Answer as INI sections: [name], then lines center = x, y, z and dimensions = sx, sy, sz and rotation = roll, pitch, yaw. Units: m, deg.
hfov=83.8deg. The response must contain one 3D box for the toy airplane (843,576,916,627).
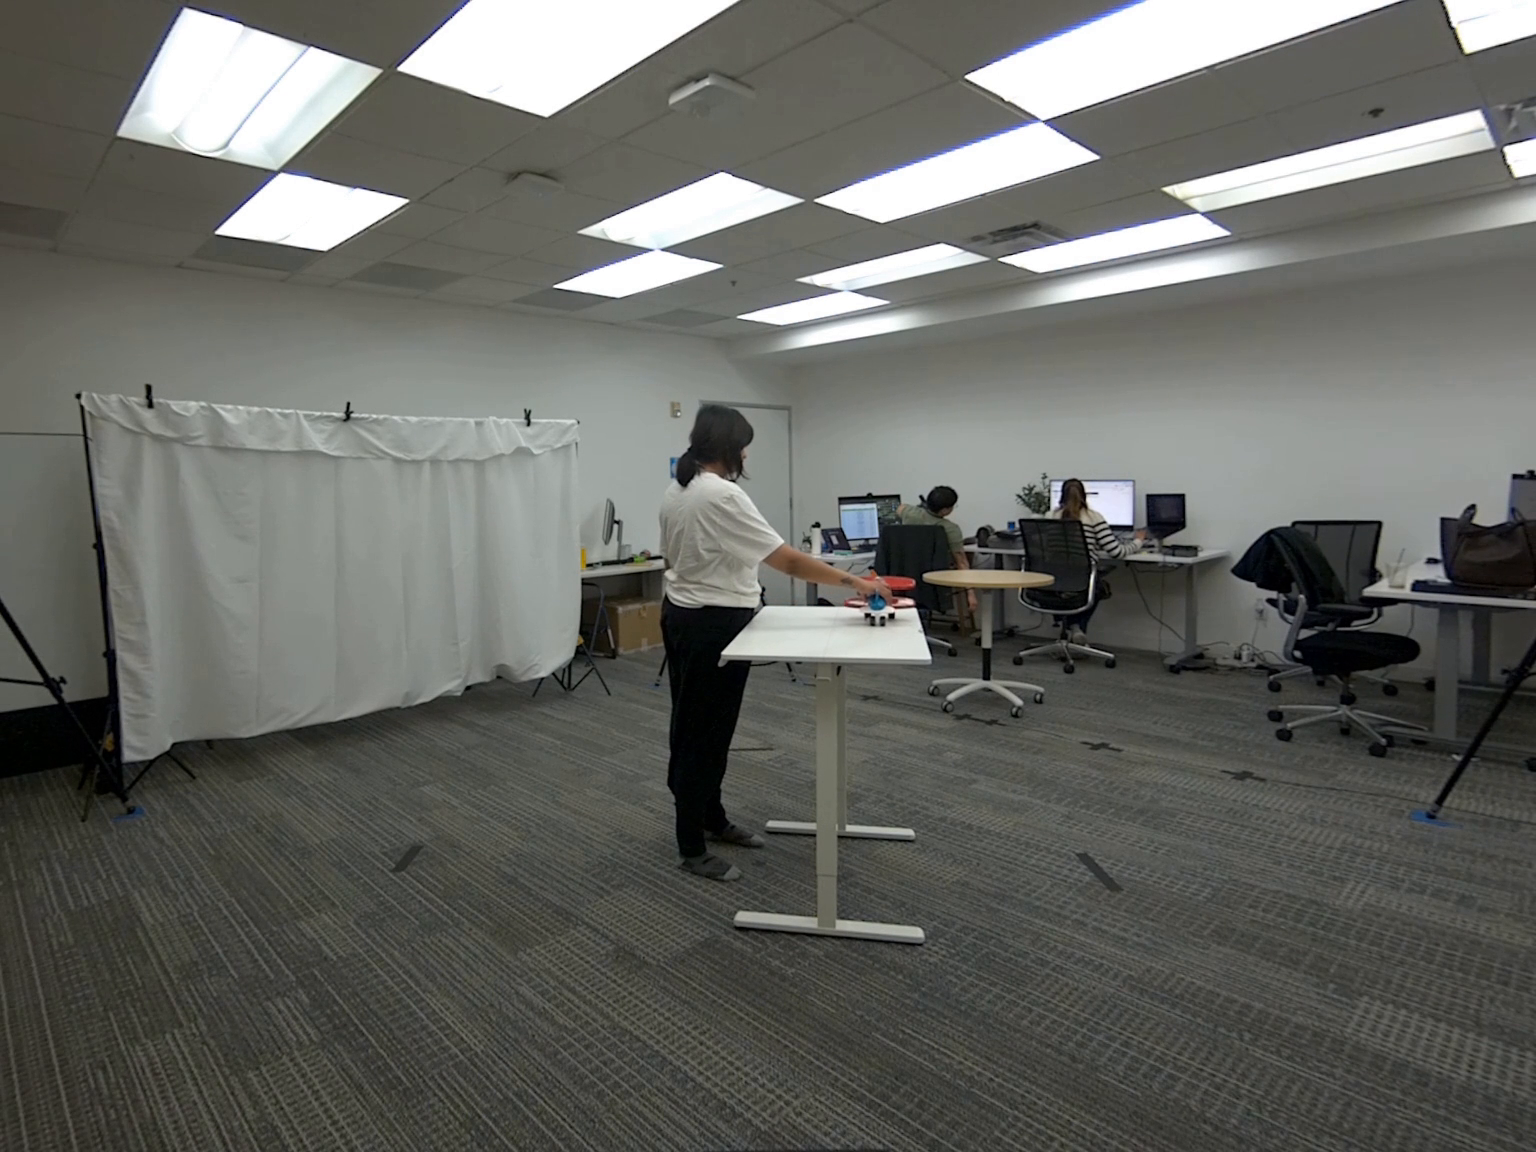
[toy airplane]
center = 0.417, 0.086, 3.056
dimensions = 0.247, 0.156, 0.264
rotation = -2, 5, -16
